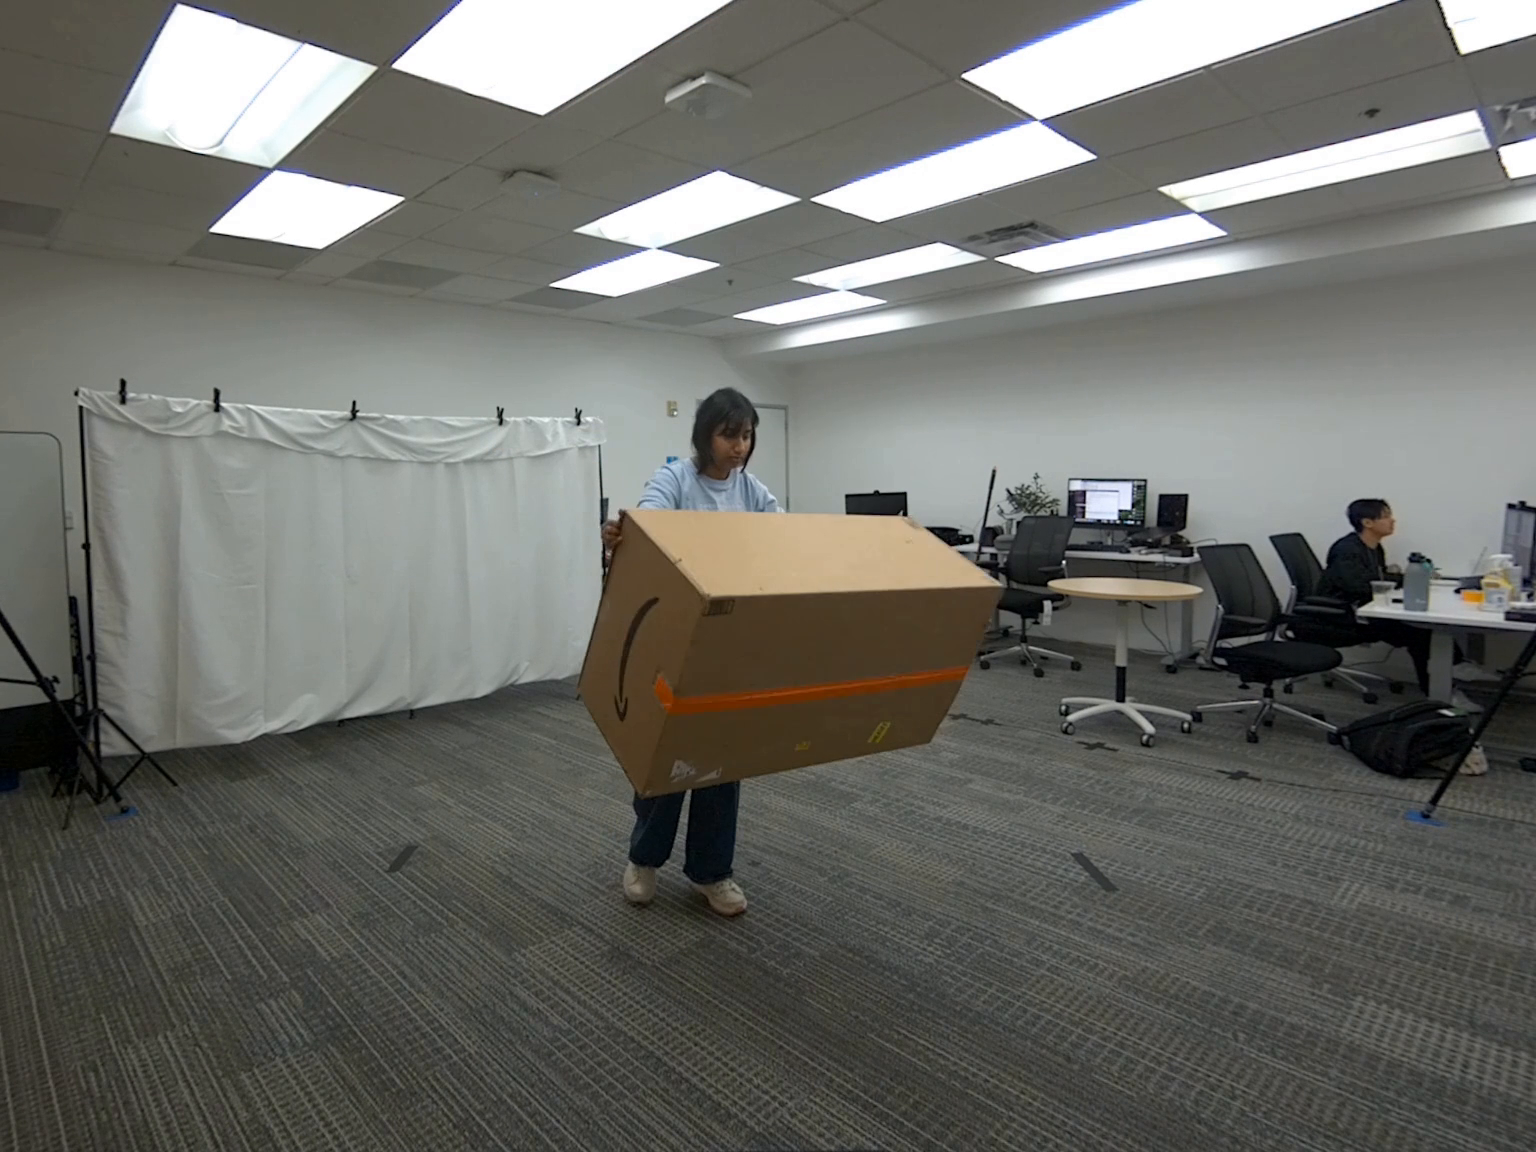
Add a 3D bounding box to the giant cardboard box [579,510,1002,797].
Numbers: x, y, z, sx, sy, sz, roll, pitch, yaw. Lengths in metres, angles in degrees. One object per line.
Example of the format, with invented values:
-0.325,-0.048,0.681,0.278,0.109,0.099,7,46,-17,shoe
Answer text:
0.075,0.169,2.373,0.998,0.570,0.443,-1,30,-35,giant cardboard box
